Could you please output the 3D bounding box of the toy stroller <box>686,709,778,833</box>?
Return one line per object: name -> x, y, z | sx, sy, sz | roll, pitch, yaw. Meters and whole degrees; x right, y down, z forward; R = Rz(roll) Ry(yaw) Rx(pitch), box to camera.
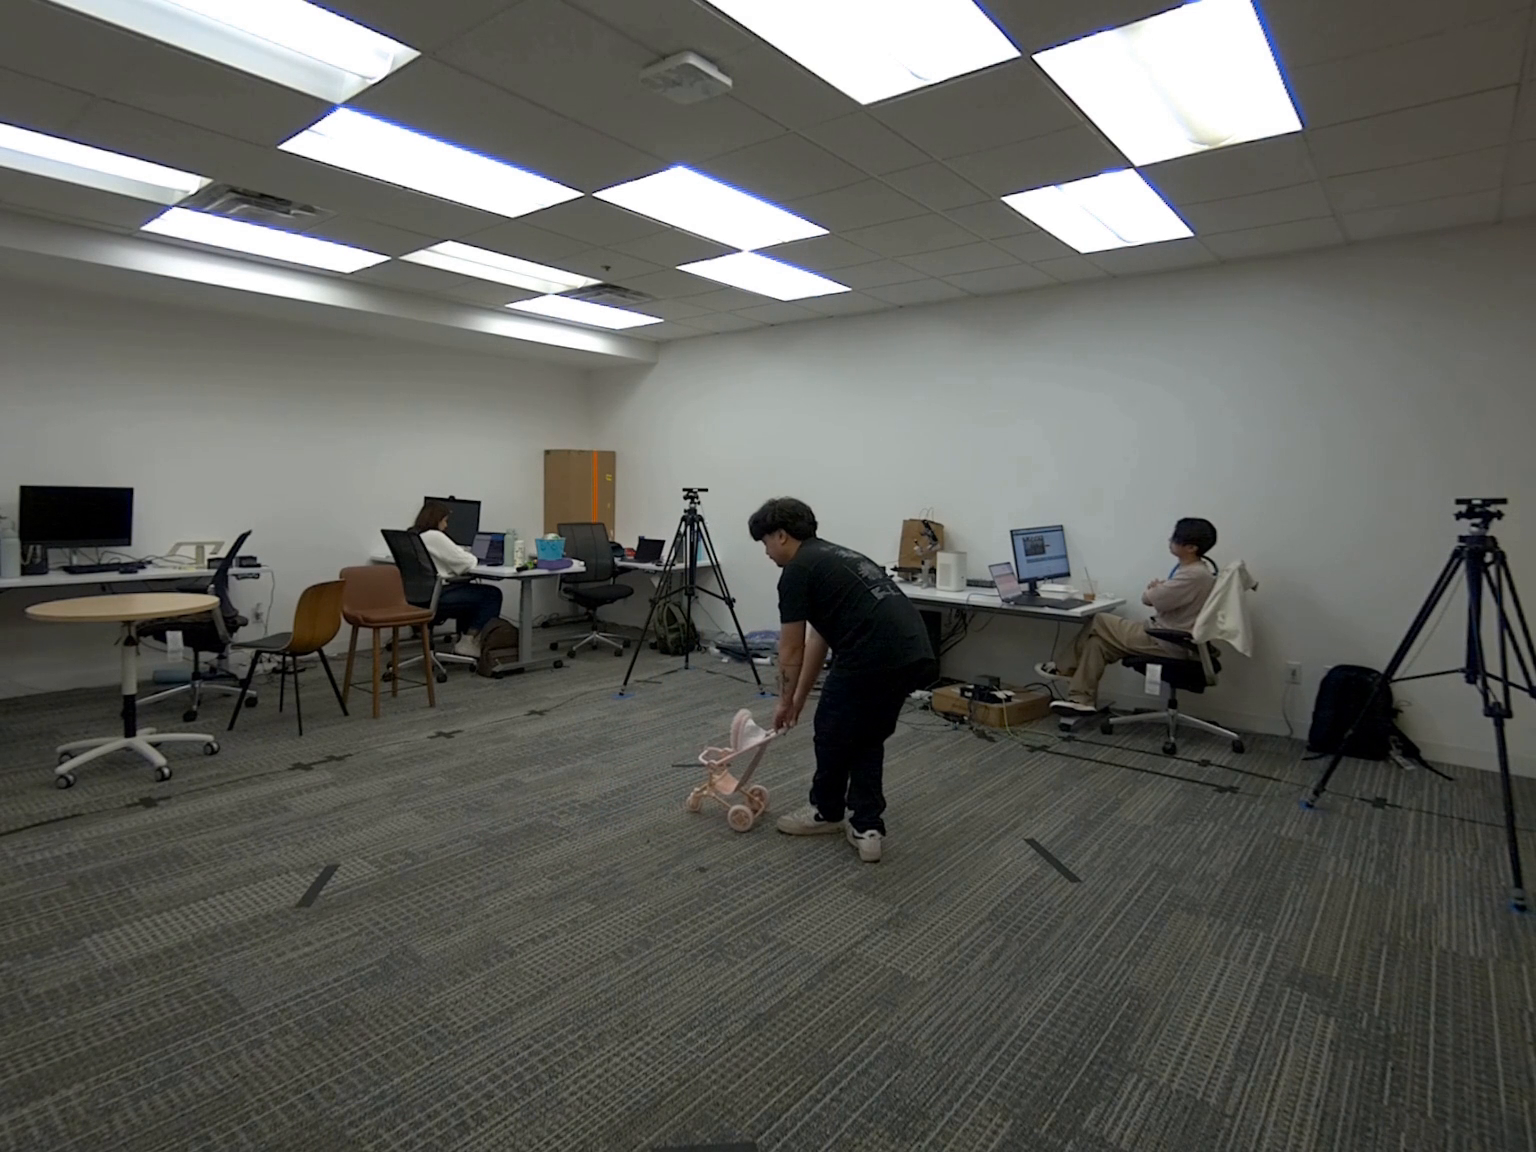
toy stroller -> -0.140, 0.800, 3.596 | 0.351, 0.532, 0.275 | 20, 10, 21
